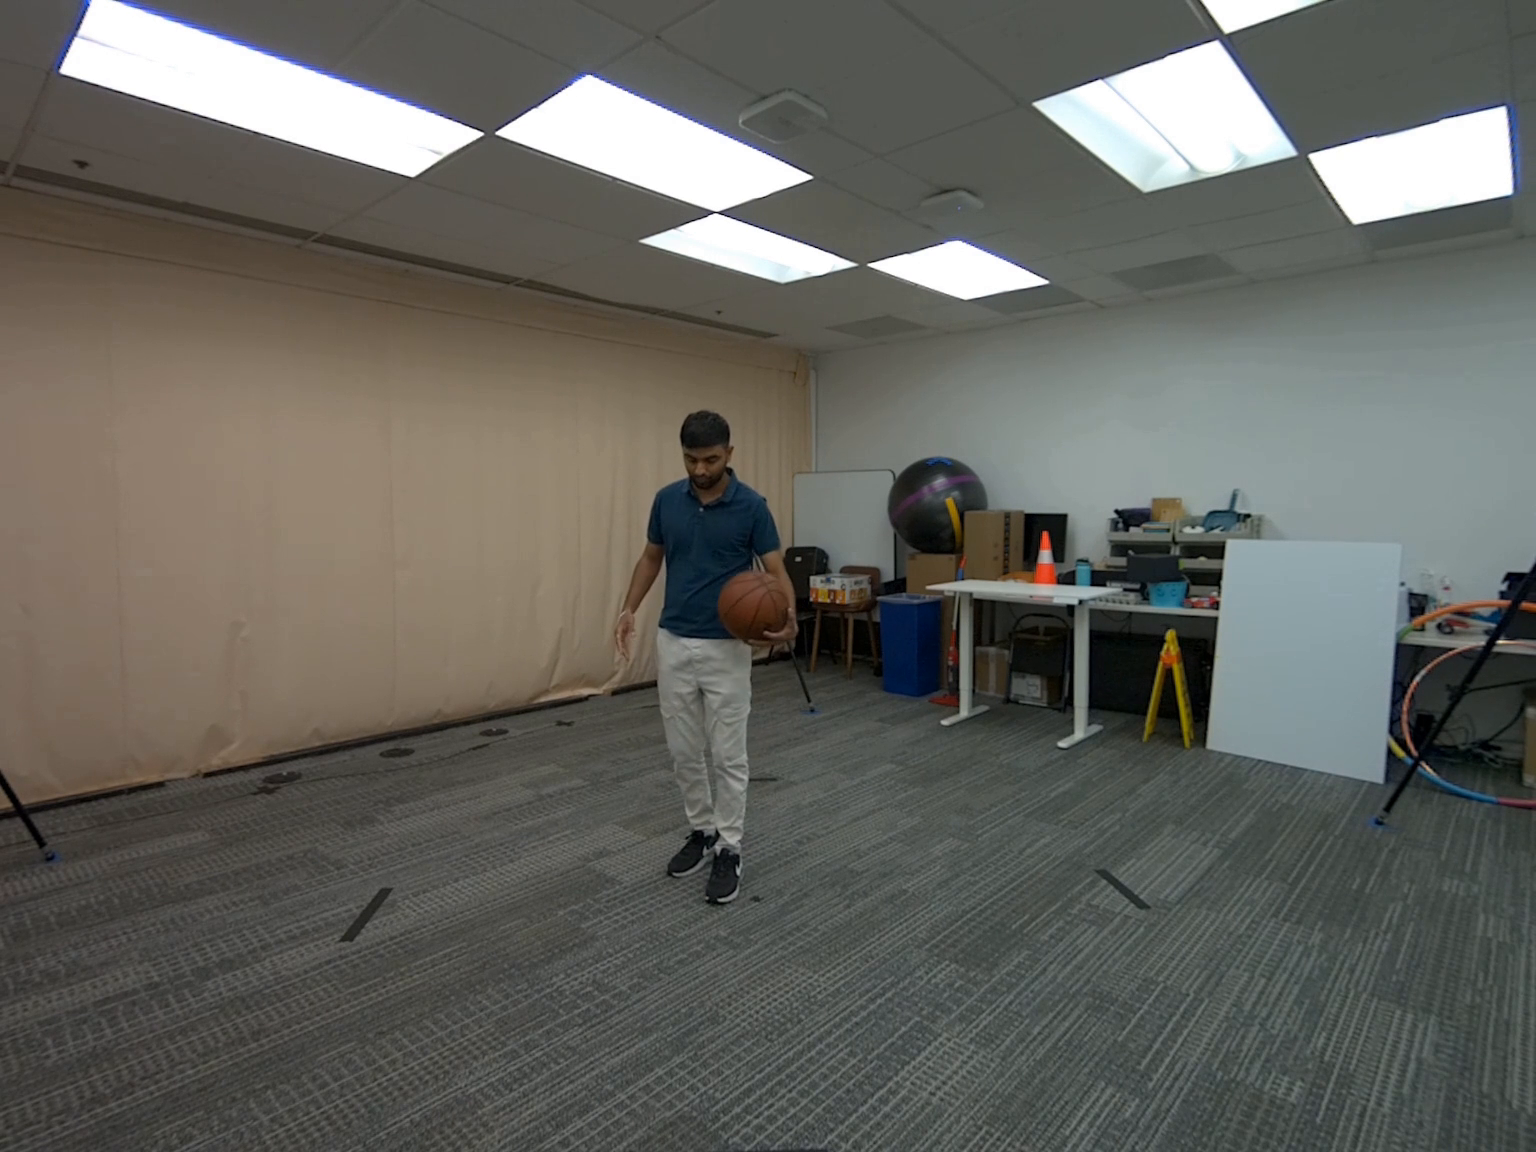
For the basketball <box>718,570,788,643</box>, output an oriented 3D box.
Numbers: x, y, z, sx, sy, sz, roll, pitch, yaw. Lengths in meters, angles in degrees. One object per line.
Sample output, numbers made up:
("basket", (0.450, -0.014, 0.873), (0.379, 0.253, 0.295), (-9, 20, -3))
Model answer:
("basketball", (-0.062, 0.100, 2.819), (0.236, 0.235, 0.237), (0, 4, -2))
